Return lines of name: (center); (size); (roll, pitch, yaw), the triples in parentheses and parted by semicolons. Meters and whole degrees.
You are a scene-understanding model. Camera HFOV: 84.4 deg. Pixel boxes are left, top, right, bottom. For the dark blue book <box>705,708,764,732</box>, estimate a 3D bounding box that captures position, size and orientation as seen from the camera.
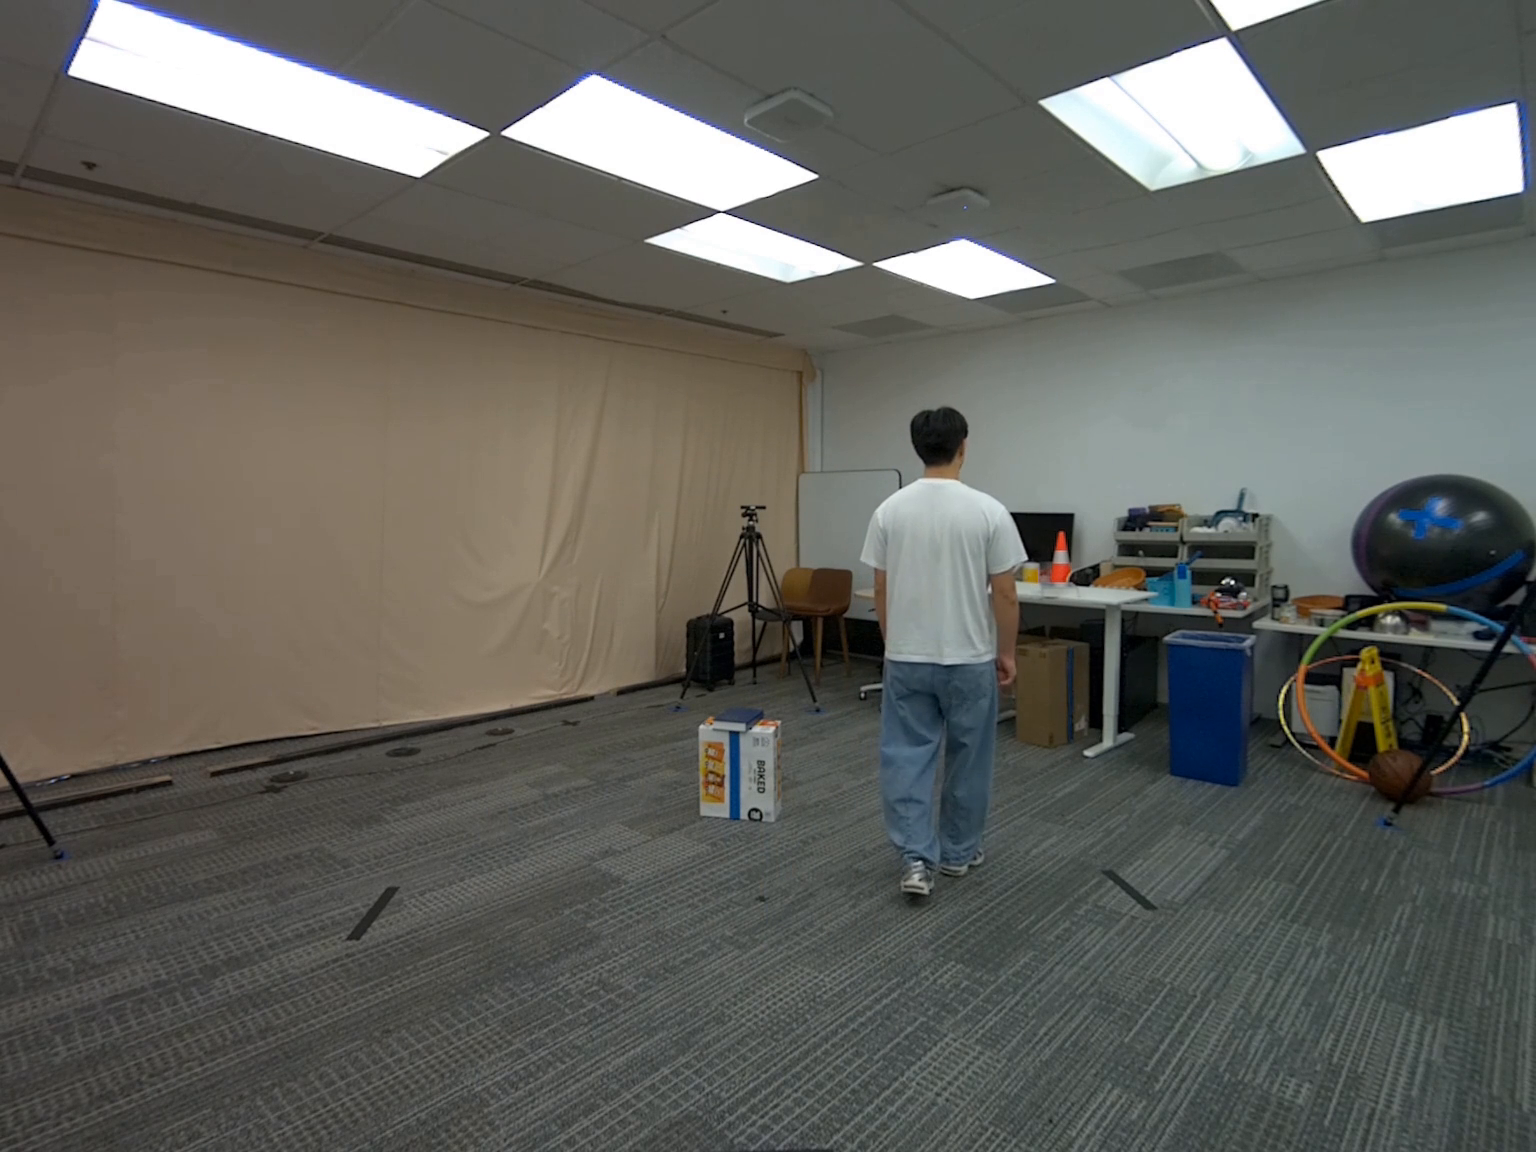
dark blue book: (-0.131, 0.652, 3.832); (0.167, 0.045, 0.240); (1, 5, 19)
